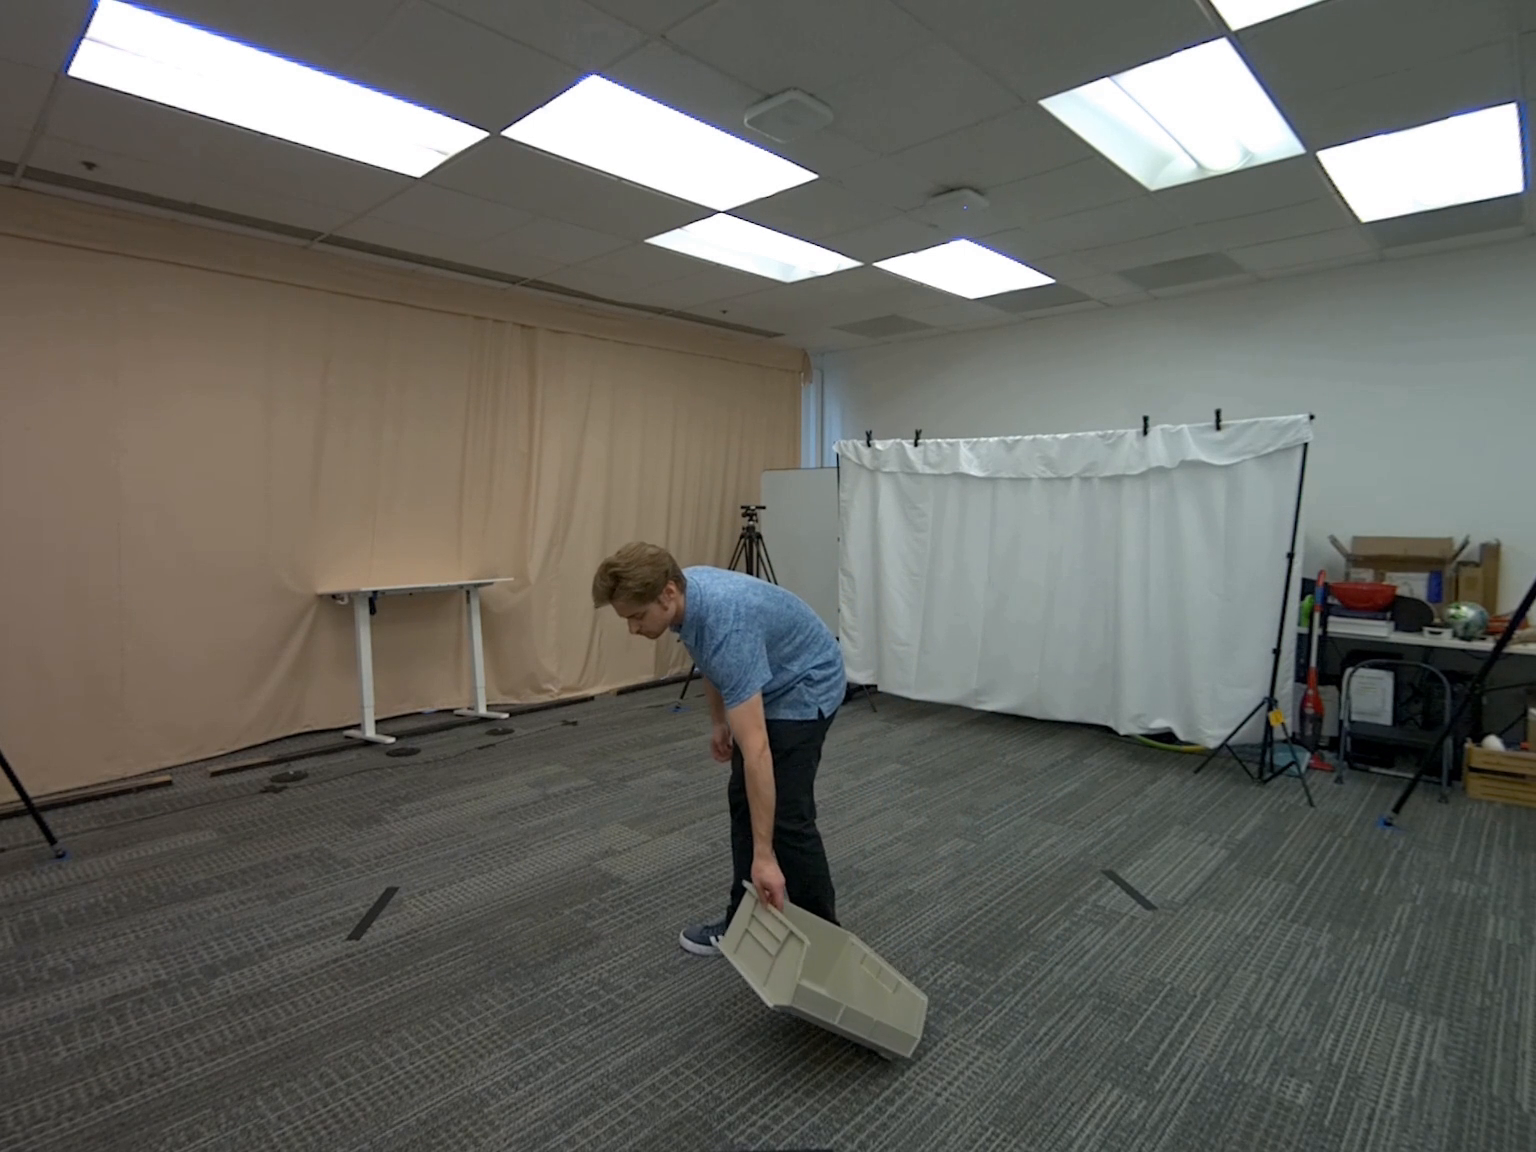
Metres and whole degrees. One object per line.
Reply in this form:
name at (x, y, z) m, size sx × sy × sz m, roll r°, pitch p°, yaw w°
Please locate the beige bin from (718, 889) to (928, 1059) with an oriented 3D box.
beige bin at (0.140, 1.023, 2.176) m, size 0.411 × 0.189 × 0.387 m, roll 34°, pitch -12°, yaw -24°
